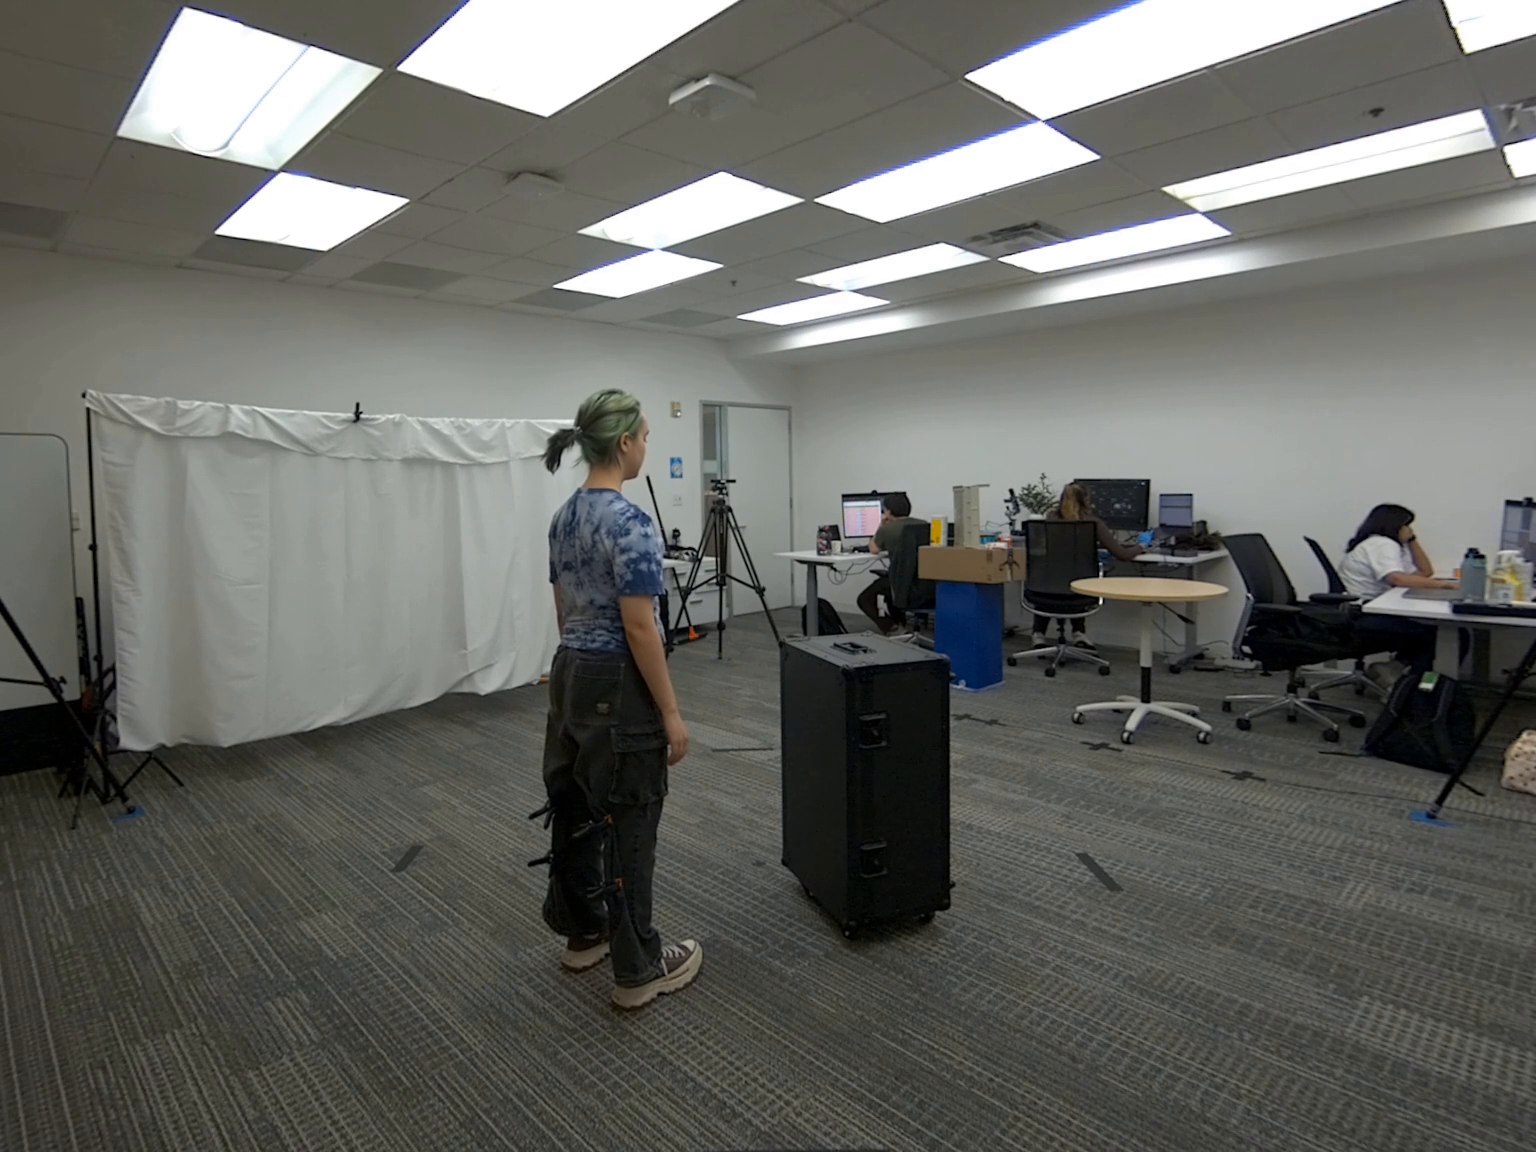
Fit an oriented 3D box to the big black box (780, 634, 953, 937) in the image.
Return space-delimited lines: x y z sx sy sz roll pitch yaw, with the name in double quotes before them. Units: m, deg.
"big black box" 0.309 0.594 2.753 0.389 0.859 0.533 -2 4 -22
